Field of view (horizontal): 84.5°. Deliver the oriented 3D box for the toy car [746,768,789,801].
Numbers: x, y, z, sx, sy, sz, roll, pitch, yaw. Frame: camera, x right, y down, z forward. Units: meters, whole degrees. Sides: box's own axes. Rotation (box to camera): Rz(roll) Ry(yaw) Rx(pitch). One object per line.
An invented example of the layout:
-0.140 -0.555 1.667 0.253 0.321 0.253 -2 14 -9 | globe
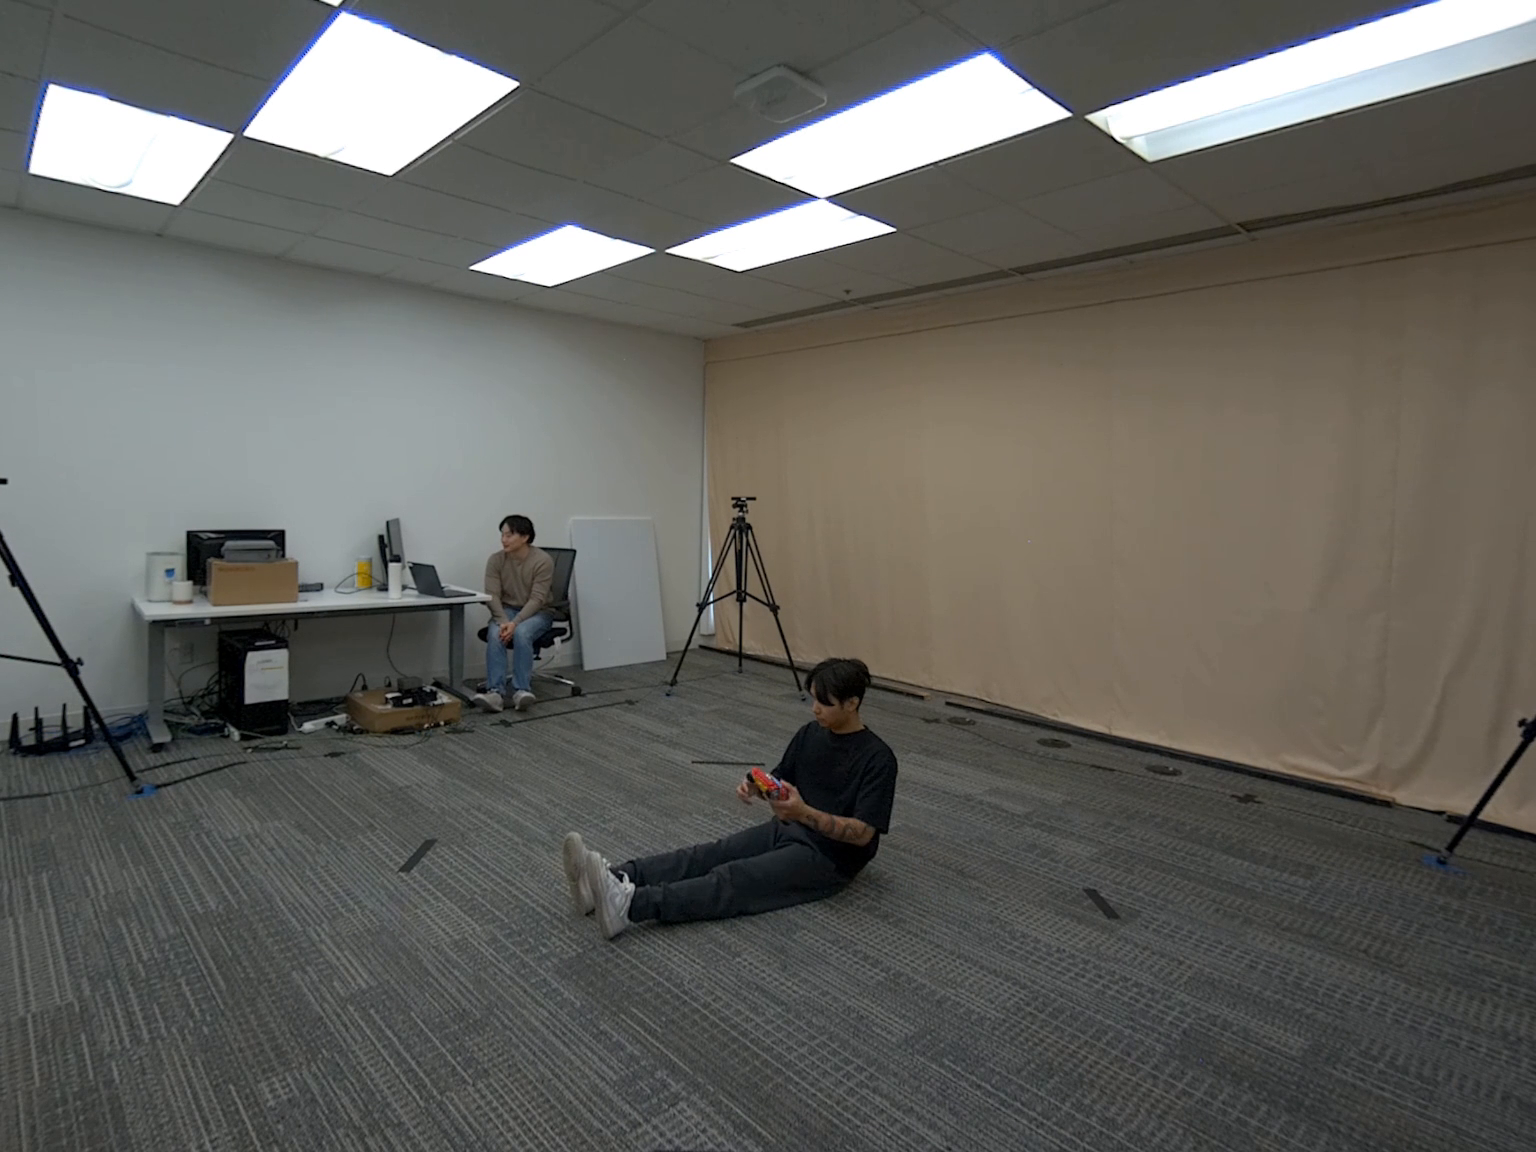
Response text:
0.016 0.727 2.807 0.134 0.083 0.247 33 -9 33 | toy car
